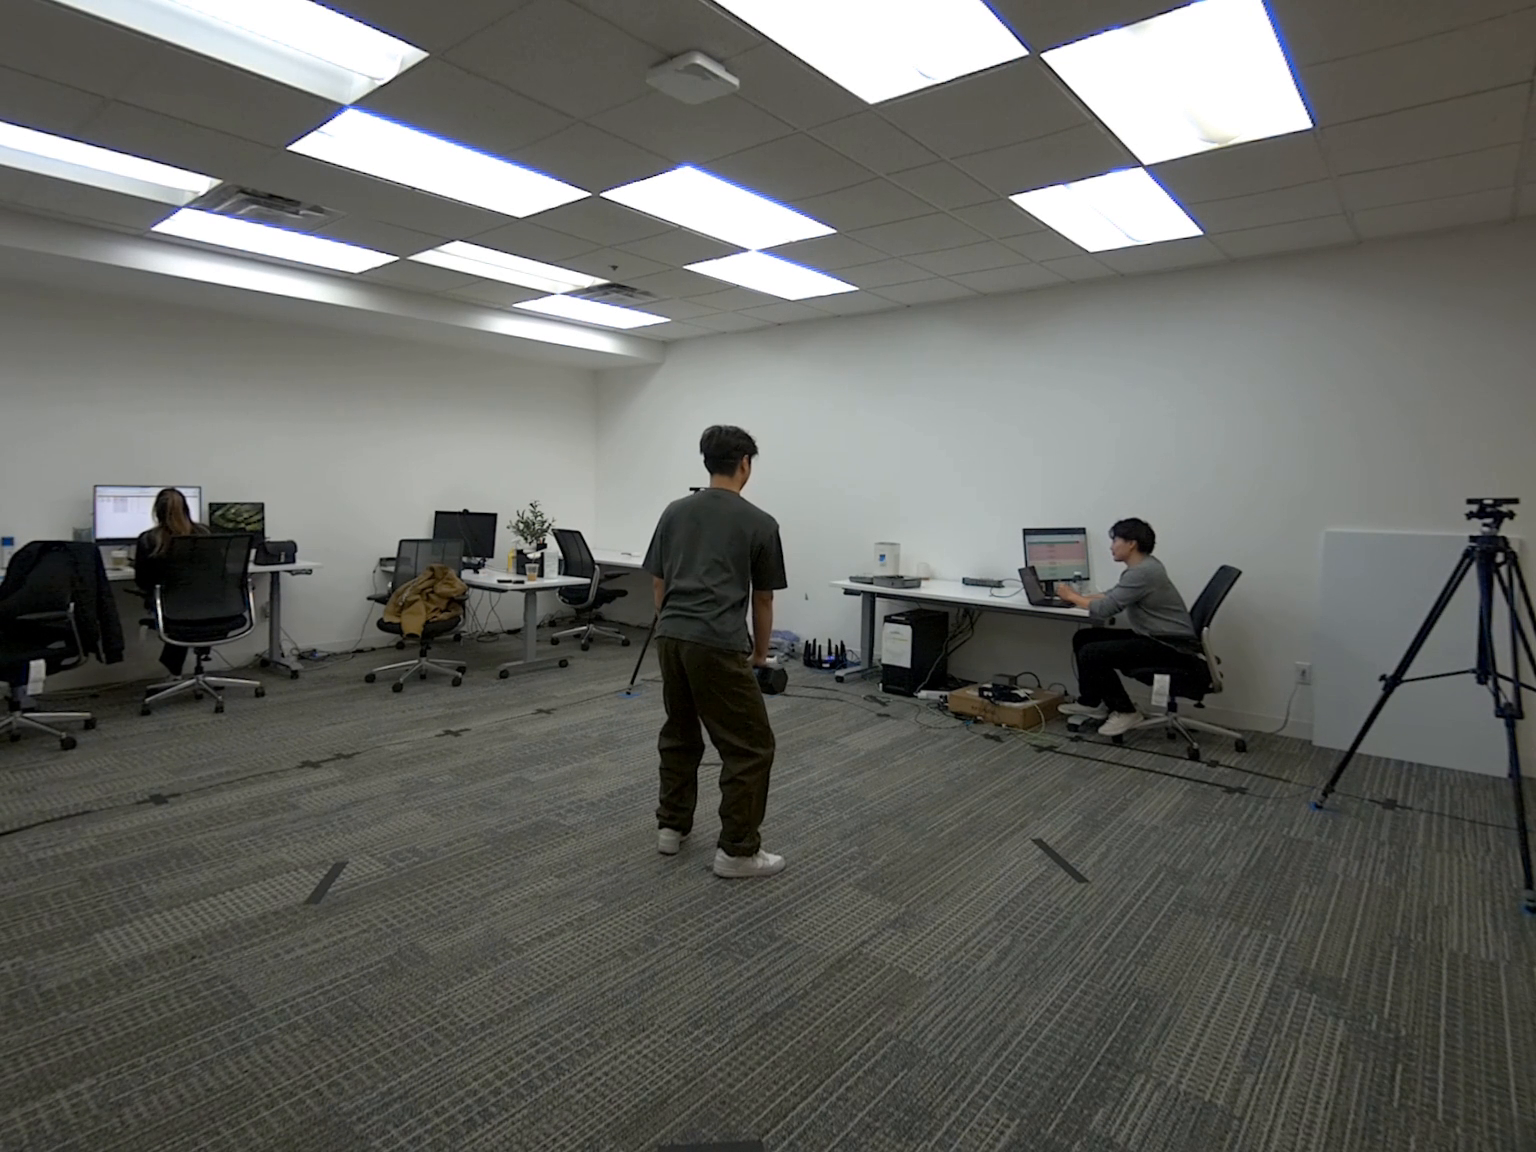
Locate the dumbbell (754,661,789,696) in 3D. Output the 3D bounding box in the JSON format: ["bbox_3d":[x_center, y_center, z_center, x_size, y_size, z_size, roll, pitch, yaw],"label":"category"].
[{"bbox_3d":[-0.079,0.395,3.306,0.303,0.124,0.104,3,-23,40],"label":"dumbbell"}]
